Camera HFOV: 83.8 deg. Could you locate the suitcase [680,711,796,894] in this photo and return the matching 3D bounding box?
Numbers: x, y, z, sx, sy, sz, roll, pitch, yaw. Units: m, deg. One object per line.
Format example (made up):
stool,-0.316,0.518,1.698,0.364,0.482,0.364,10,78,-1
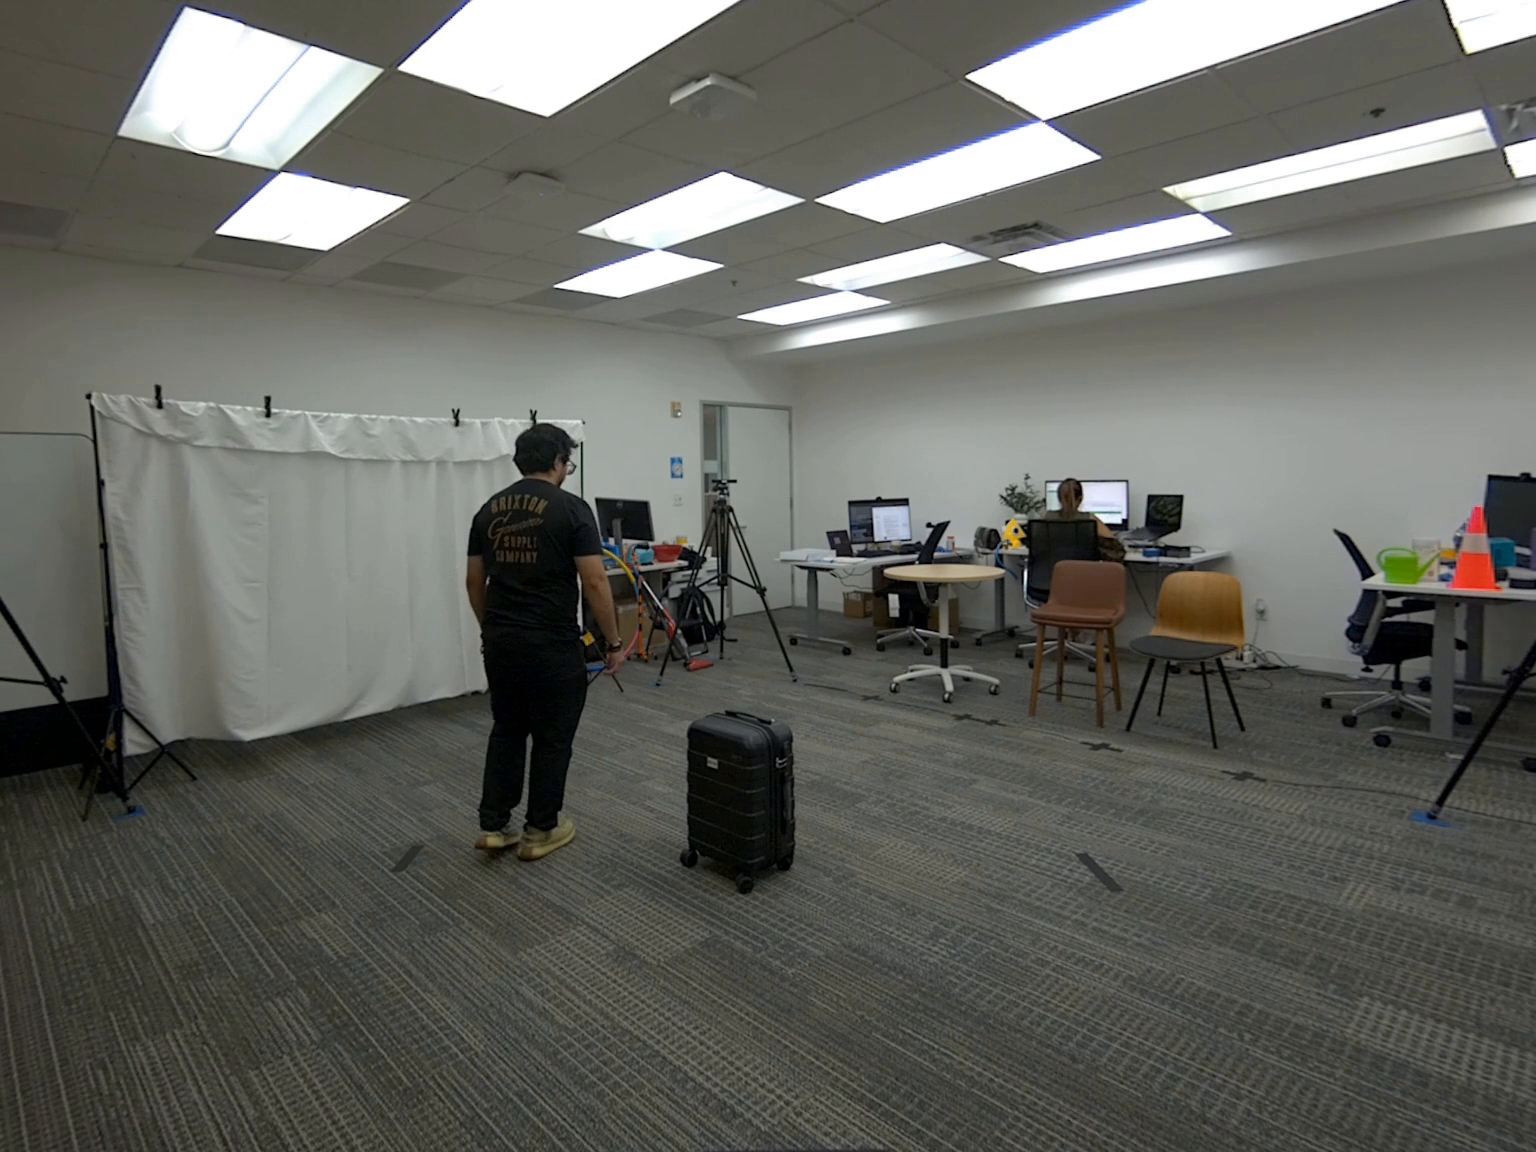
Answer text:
suitcase,-0.095,0.779,3.064,0.387,0.547,0.241,4,6,44
